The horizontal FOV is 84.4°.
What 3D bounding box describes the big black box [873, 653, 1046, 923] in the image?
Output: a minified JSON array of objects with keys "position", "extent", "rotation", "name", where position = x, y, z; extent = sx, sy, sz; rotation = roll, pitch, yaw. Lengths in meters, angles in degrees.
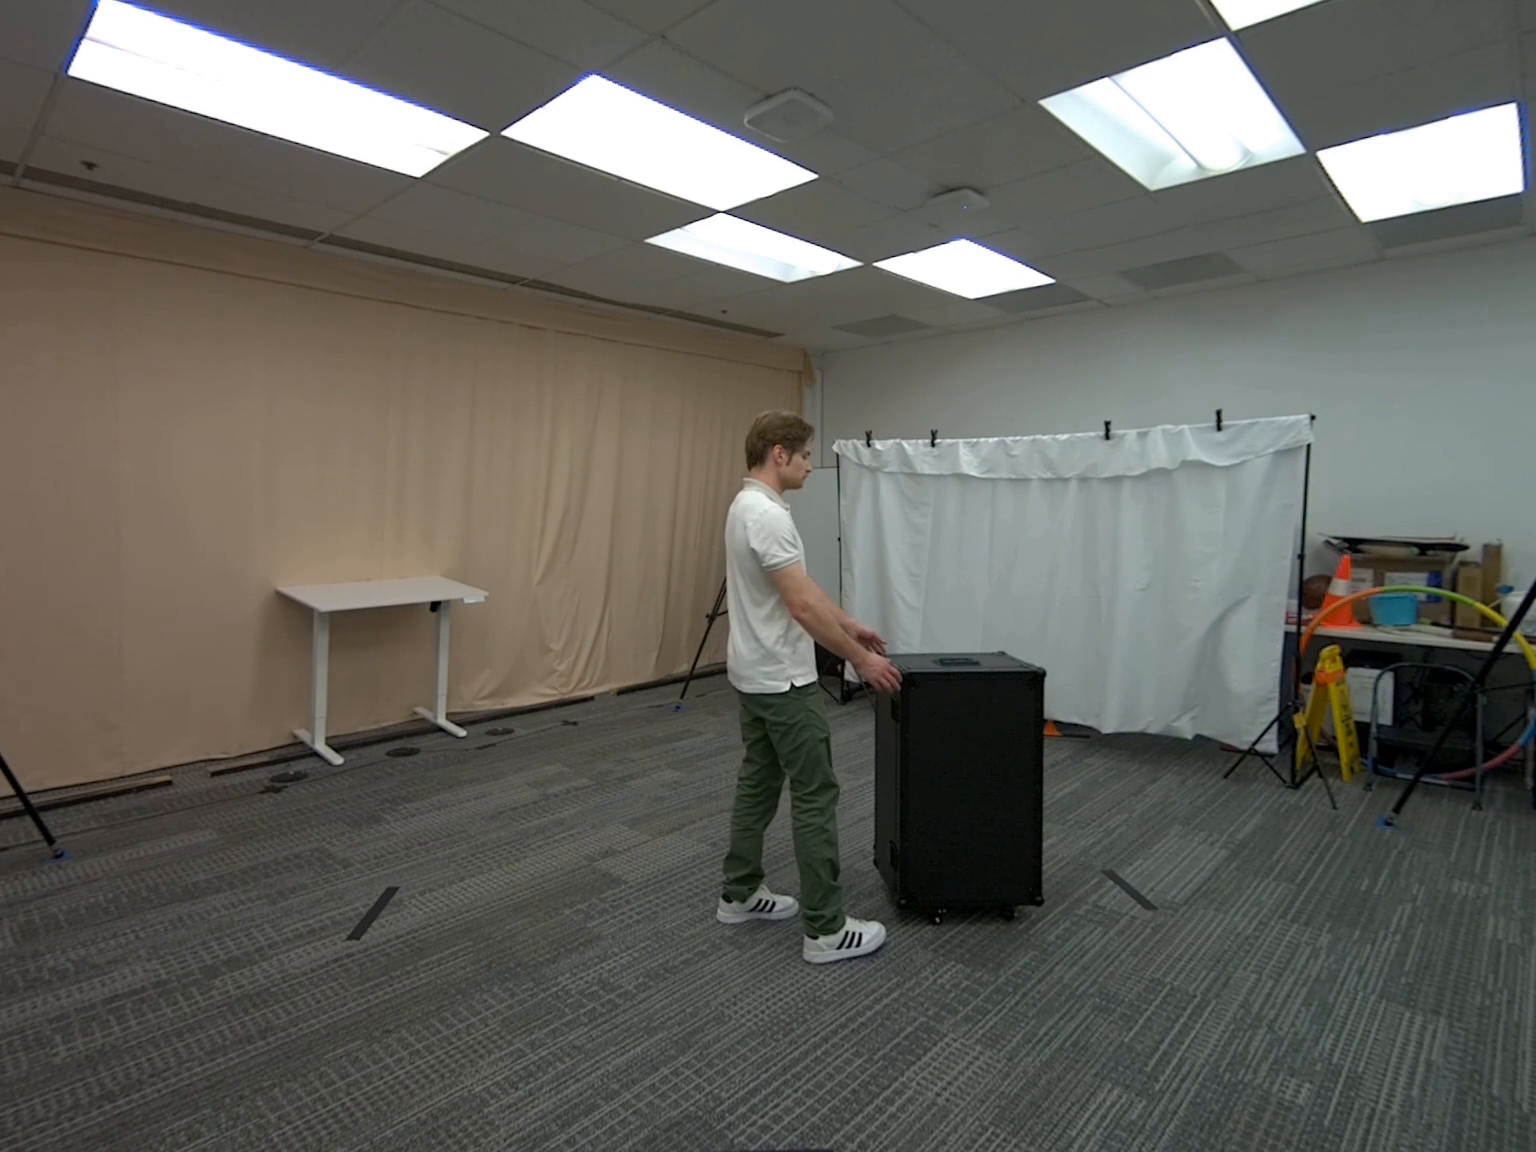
[{"position":[0.649,0.723,2.923],"extent":[0.522,0.867,0.387],"rotation":[0,3,-3],"name":"big black box"}]
